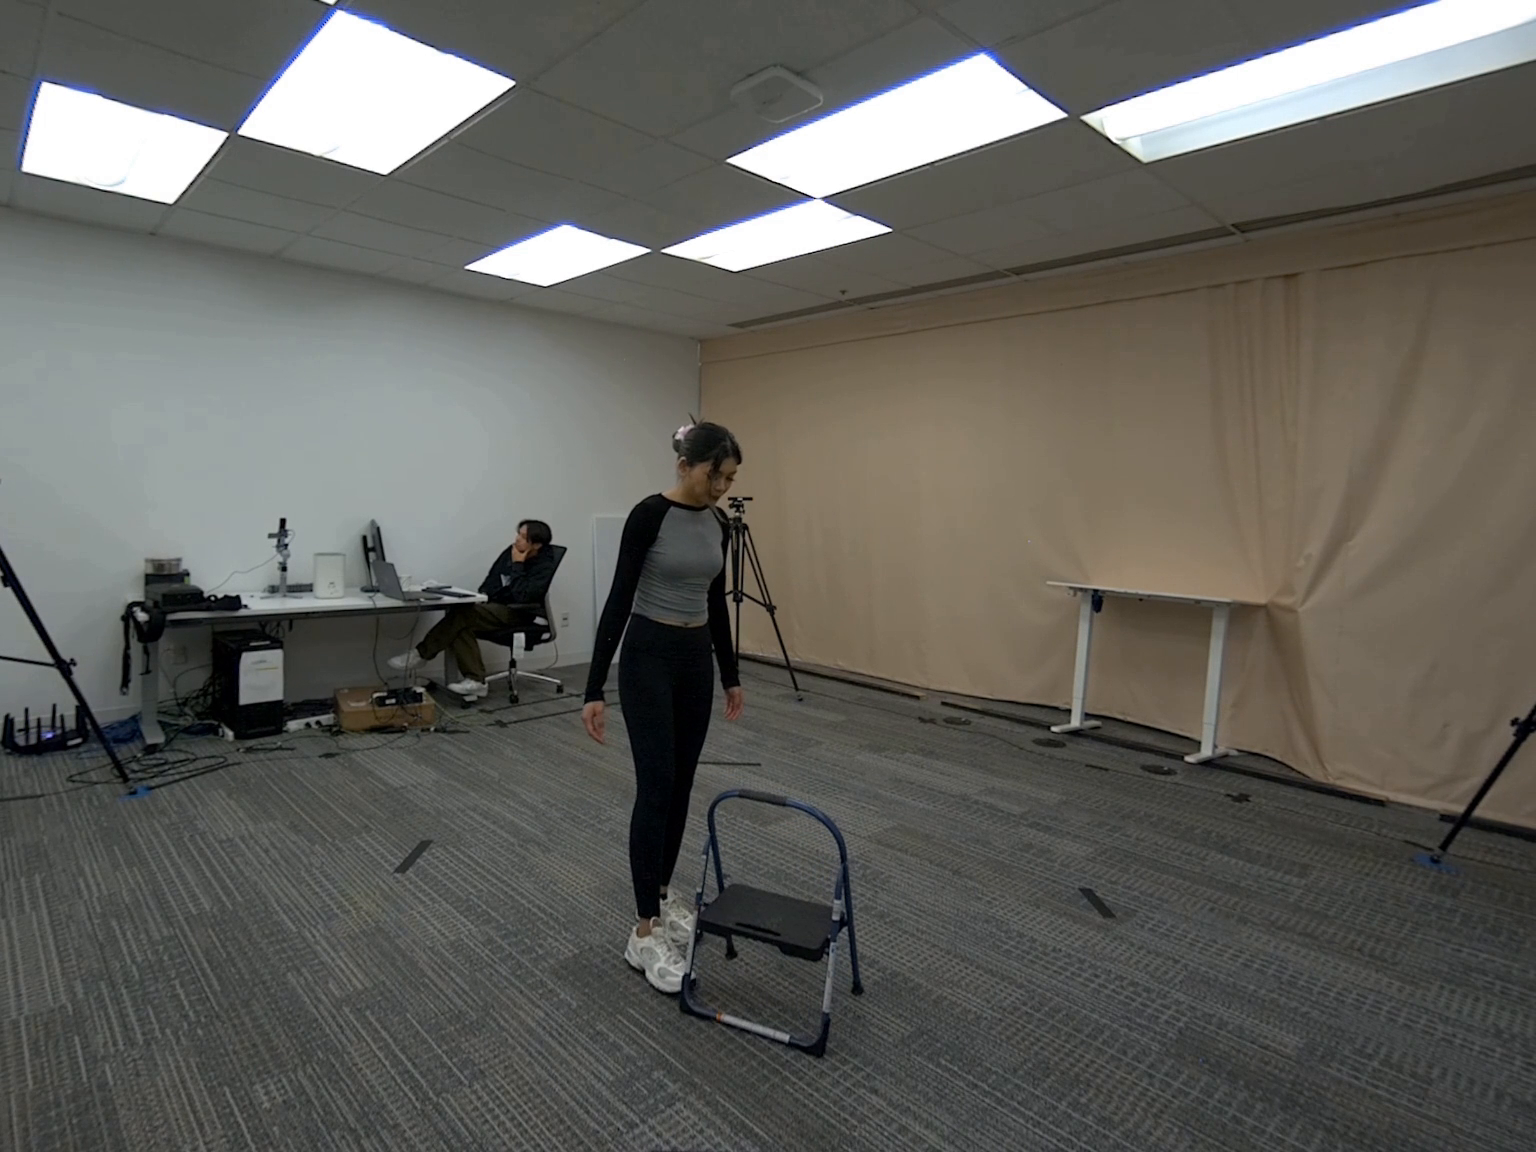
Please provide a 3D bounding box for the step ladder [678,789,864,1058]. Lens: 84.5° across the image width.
[{"bbox_3d":[0.018,0.883,2.325,0.439,0.605,0.343,3,3,24],"label":"step ladder"}]
